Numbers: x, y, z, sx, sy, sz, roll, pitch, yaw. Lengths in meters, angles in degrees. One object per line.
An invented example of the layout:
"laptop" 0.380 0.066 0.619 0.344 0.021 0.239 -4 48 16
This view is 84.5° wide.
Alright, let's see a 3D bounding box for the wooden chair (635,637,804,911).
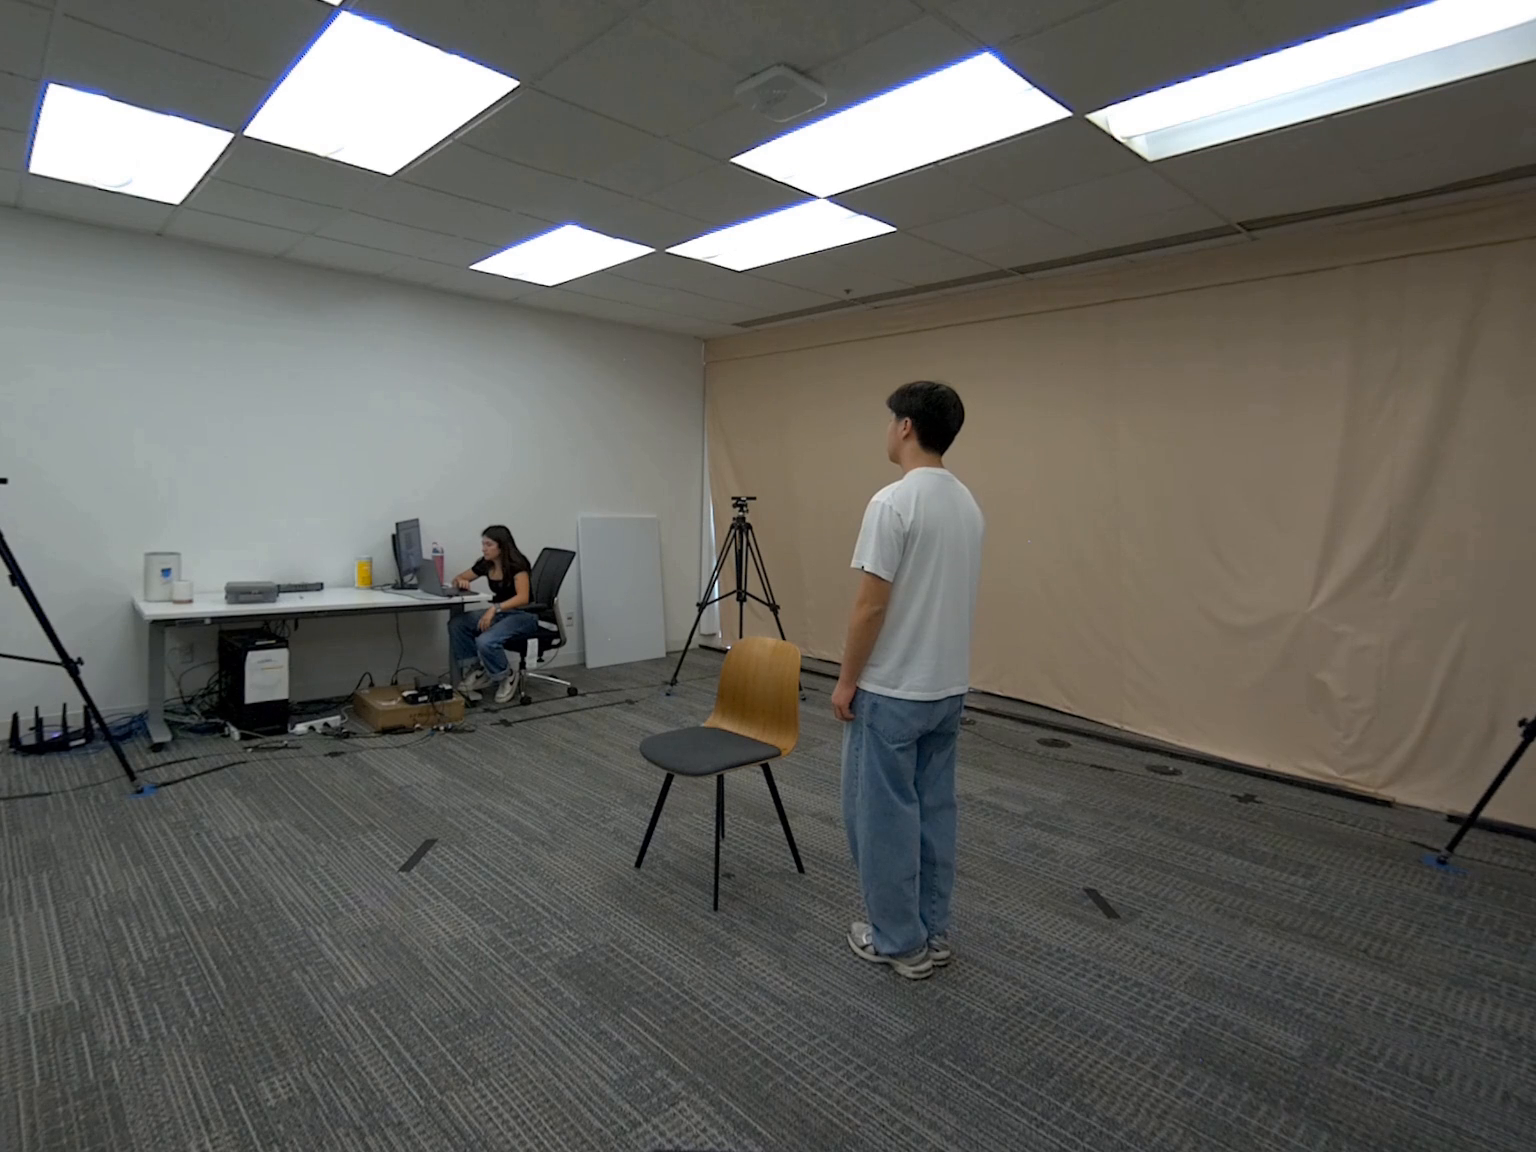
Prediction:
"wooden chair" -0.182 0.678 3.111 0.510 0.877 0.490 4 0 -45
